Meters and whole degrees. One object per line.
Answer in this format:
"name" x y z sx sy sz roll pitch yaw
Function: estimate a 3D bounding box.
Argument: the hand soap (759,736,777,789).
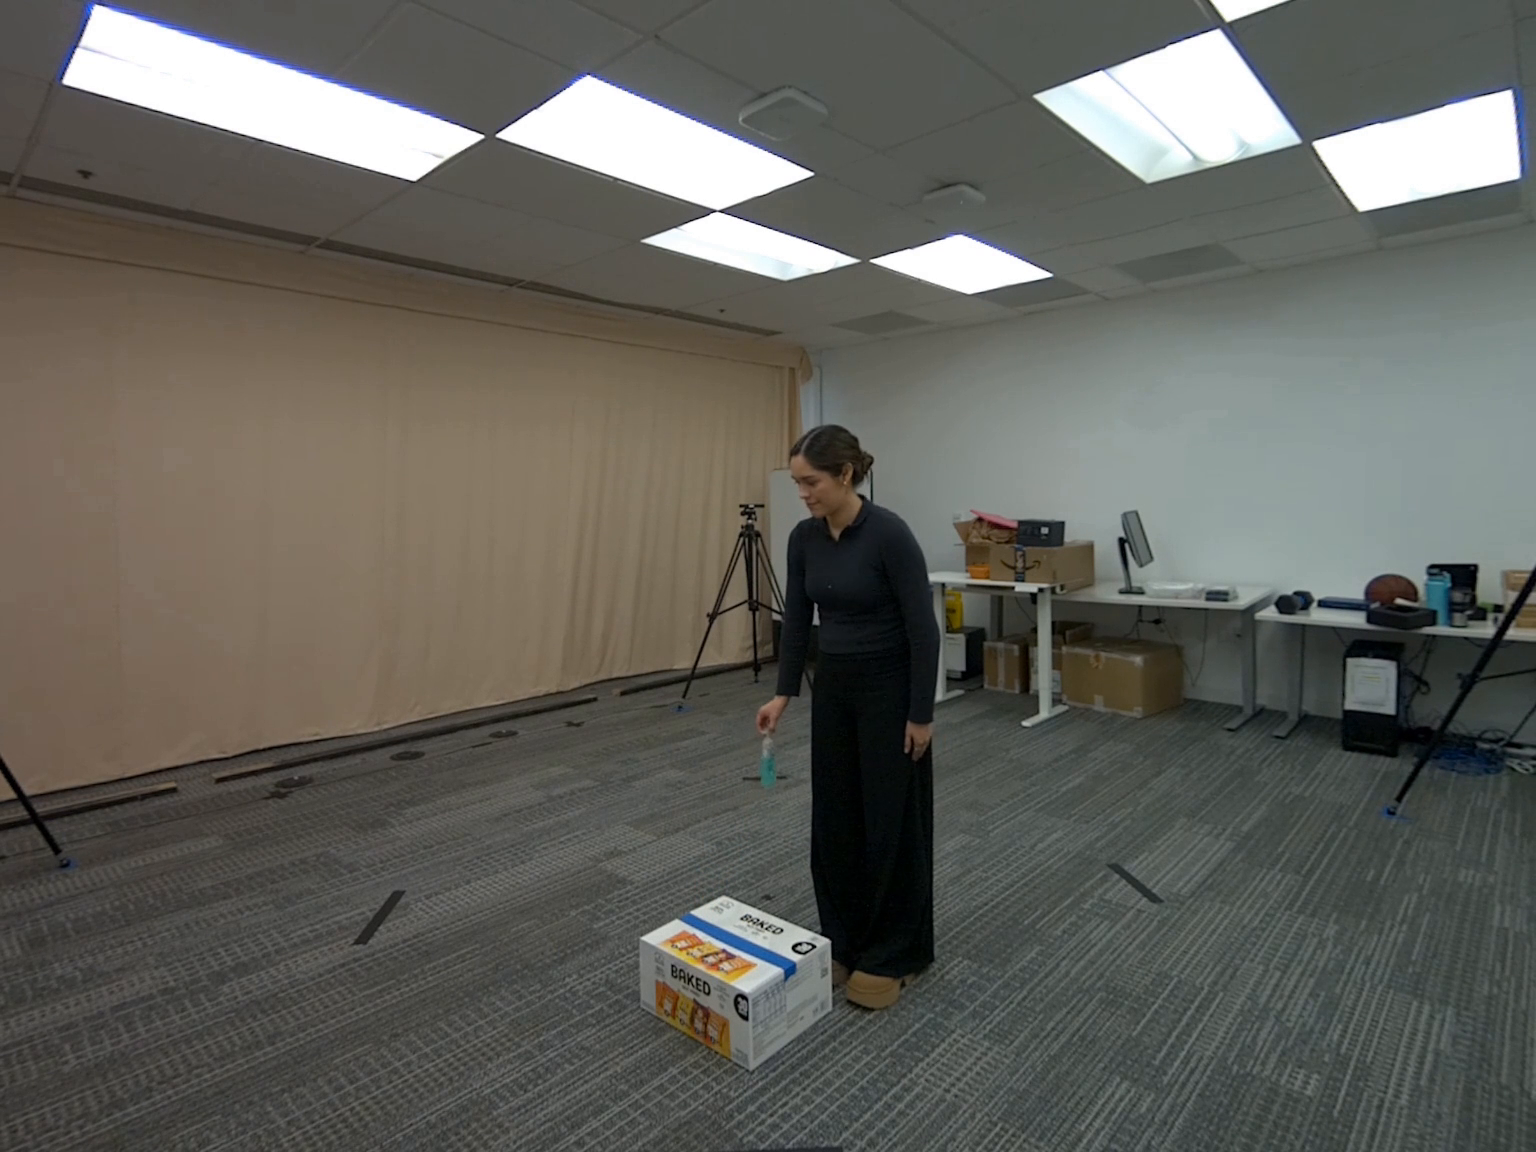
"hand soap" 0.001 0.547 2.543 0.044 0.168 0.084 2 5 9
